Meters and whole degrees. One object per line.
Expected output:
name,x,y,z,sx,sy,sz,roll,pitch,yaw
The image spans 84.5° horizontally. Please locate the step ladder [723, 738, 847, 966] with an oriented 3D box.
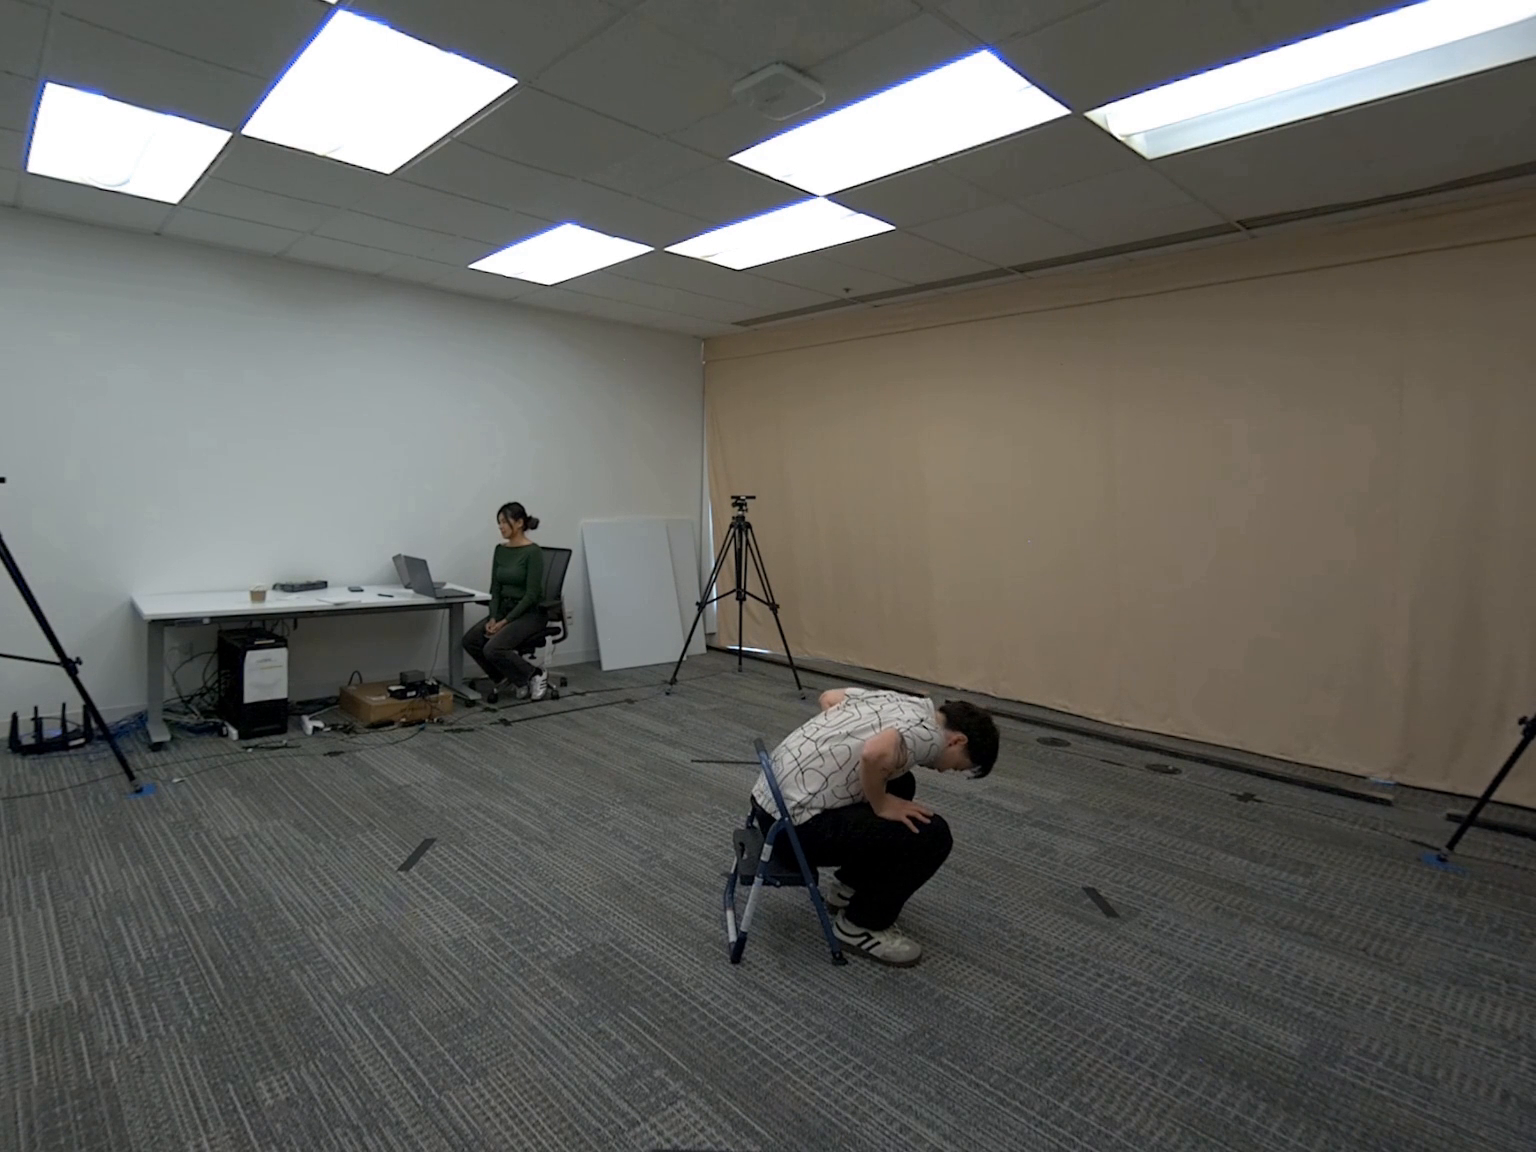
step ladder,0.035,0.842,2.704,0.348,0.604,0.434,0,4,-6
